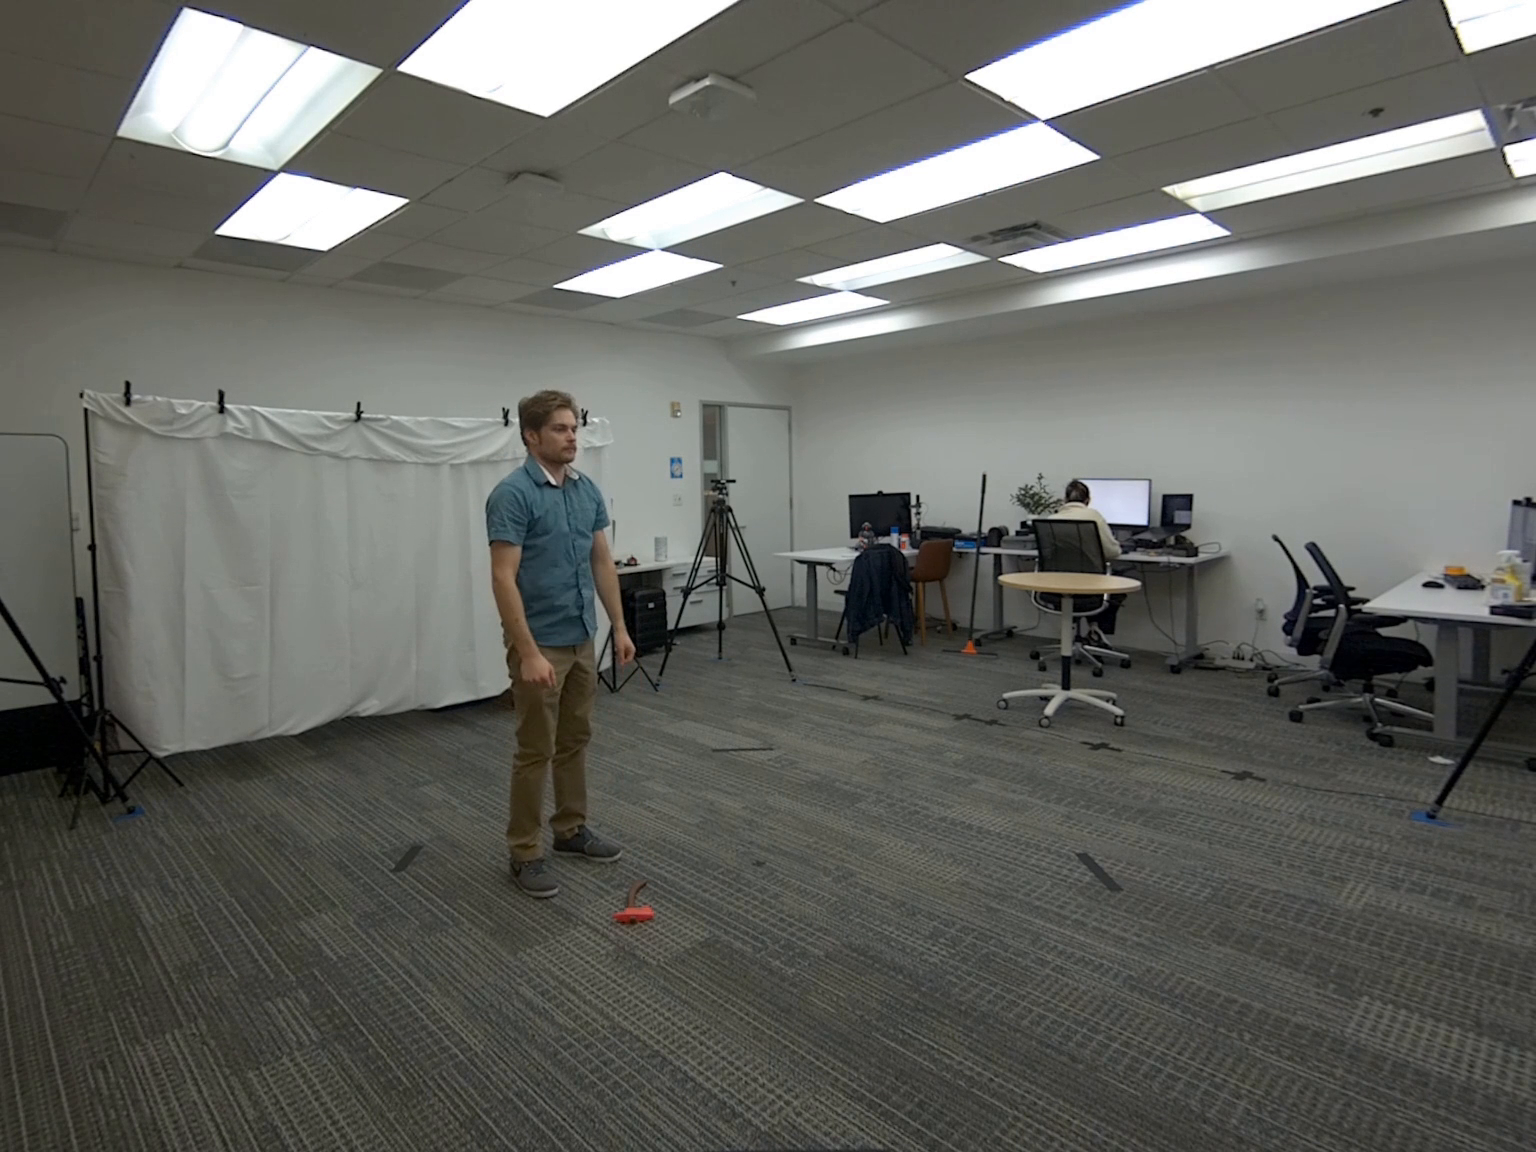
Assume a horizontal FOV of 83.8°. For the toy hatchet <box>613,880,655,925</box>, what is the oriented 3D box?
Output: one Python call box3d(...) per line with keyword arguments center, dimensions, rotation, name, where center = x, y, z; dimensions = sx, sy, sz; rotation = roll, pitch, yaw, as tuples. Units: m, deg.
box3d(center=(-0.414, 1.074, 2.830), dimensions=(0.132, 0.029, 0.268), rotation=(0, 5, 9), name="toy hatchet")
